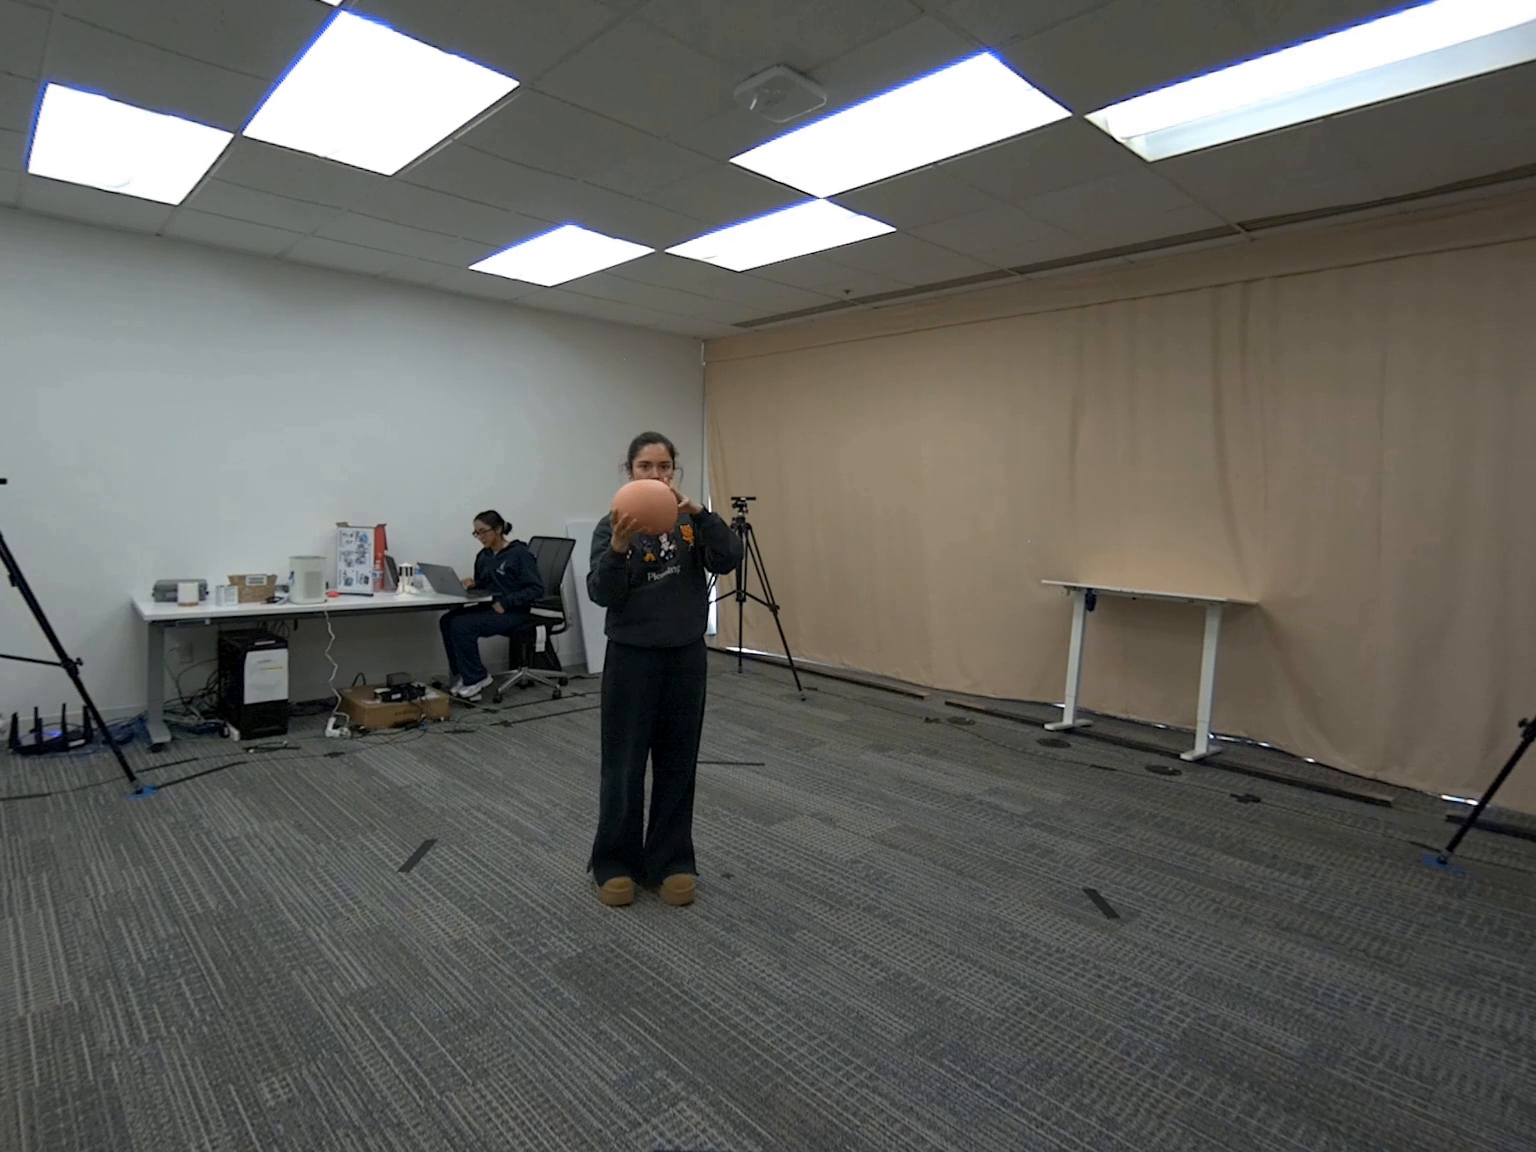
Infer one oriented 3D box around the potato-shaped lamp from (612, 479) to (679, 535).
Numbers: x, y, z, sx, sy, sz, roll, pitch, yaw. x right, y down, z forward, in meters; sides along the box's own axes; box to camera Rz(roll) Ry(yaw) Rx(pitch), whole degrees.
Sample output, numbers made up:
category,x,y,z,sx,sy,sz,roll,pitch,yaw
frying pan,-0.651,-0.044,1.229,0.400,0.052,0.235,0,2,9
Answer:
category,x,y,z,sx,sy,sz,roll,pitch,yaw
potato-shaped lamp,-0.392,-0.213,2.588,0.170,0.170,0.194,32,27,35
